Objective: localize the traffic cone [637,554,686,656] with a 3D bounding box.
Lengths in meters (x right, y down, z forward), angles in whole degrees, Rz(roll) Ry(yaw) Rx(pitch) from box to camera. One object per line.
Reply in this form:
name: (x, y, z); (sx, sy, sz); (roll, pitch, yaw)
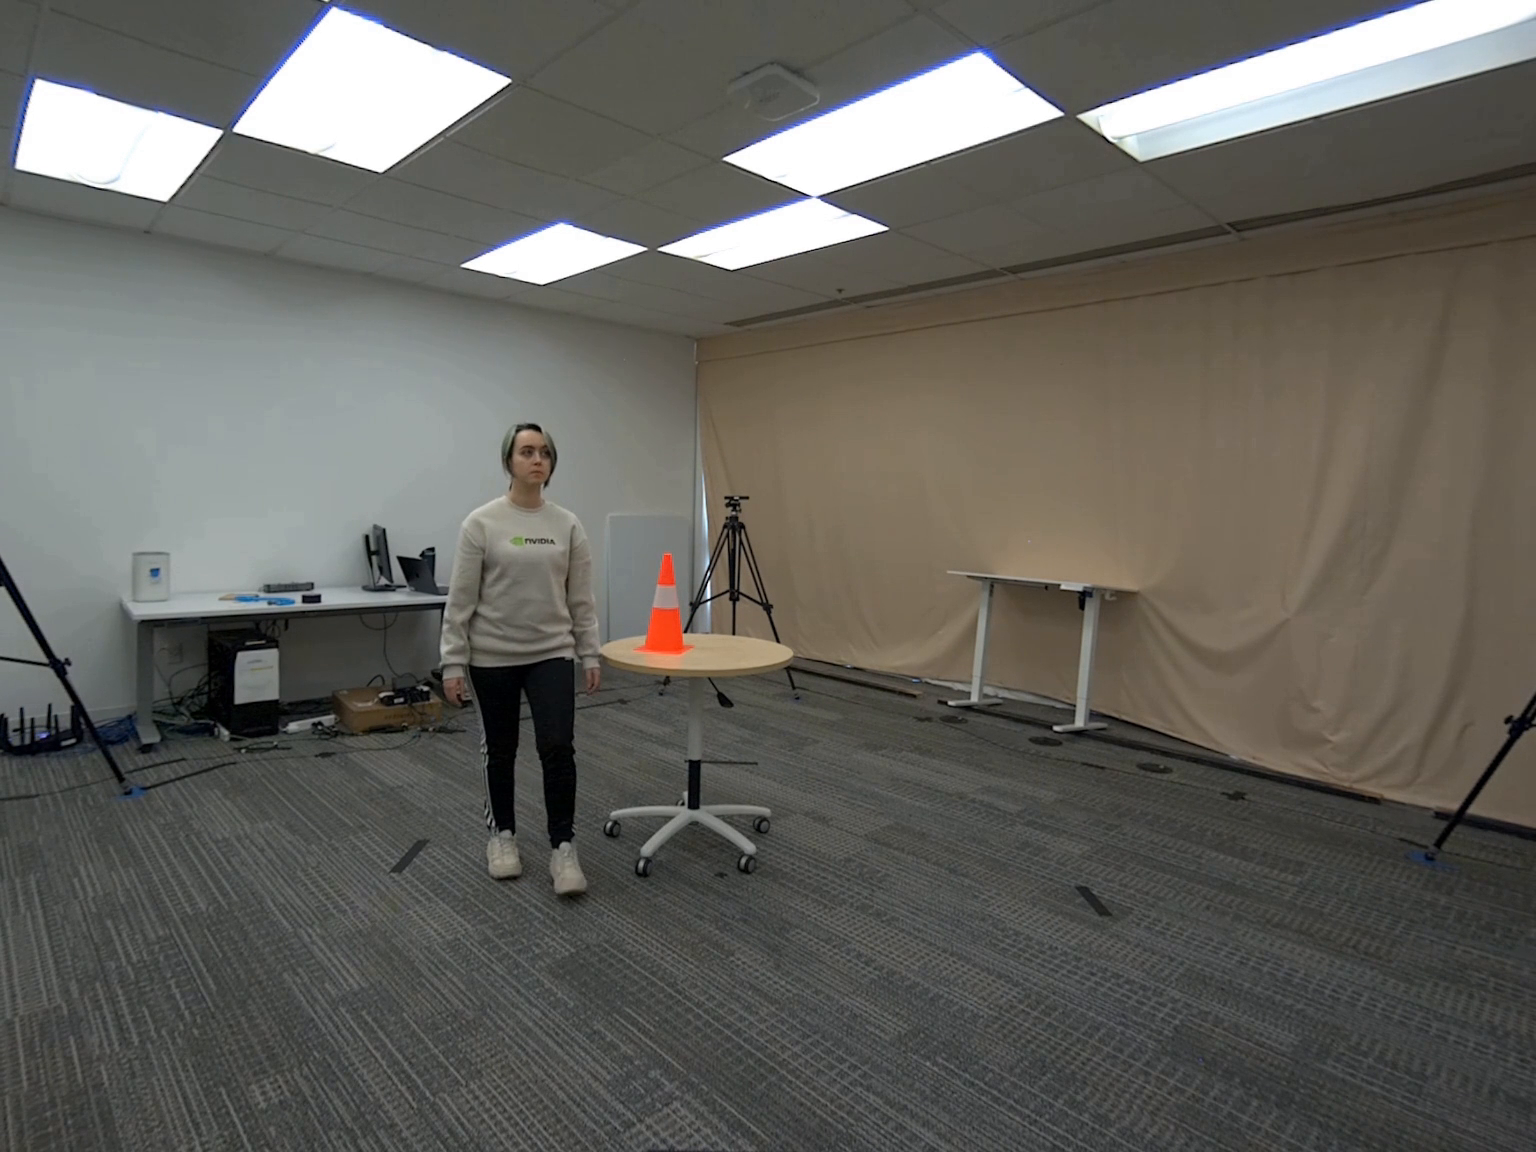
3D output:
traffic cone: (-0.421, 0.103, 3.352); (0.206, 0.382, 0.203); (3, 5, 17)
